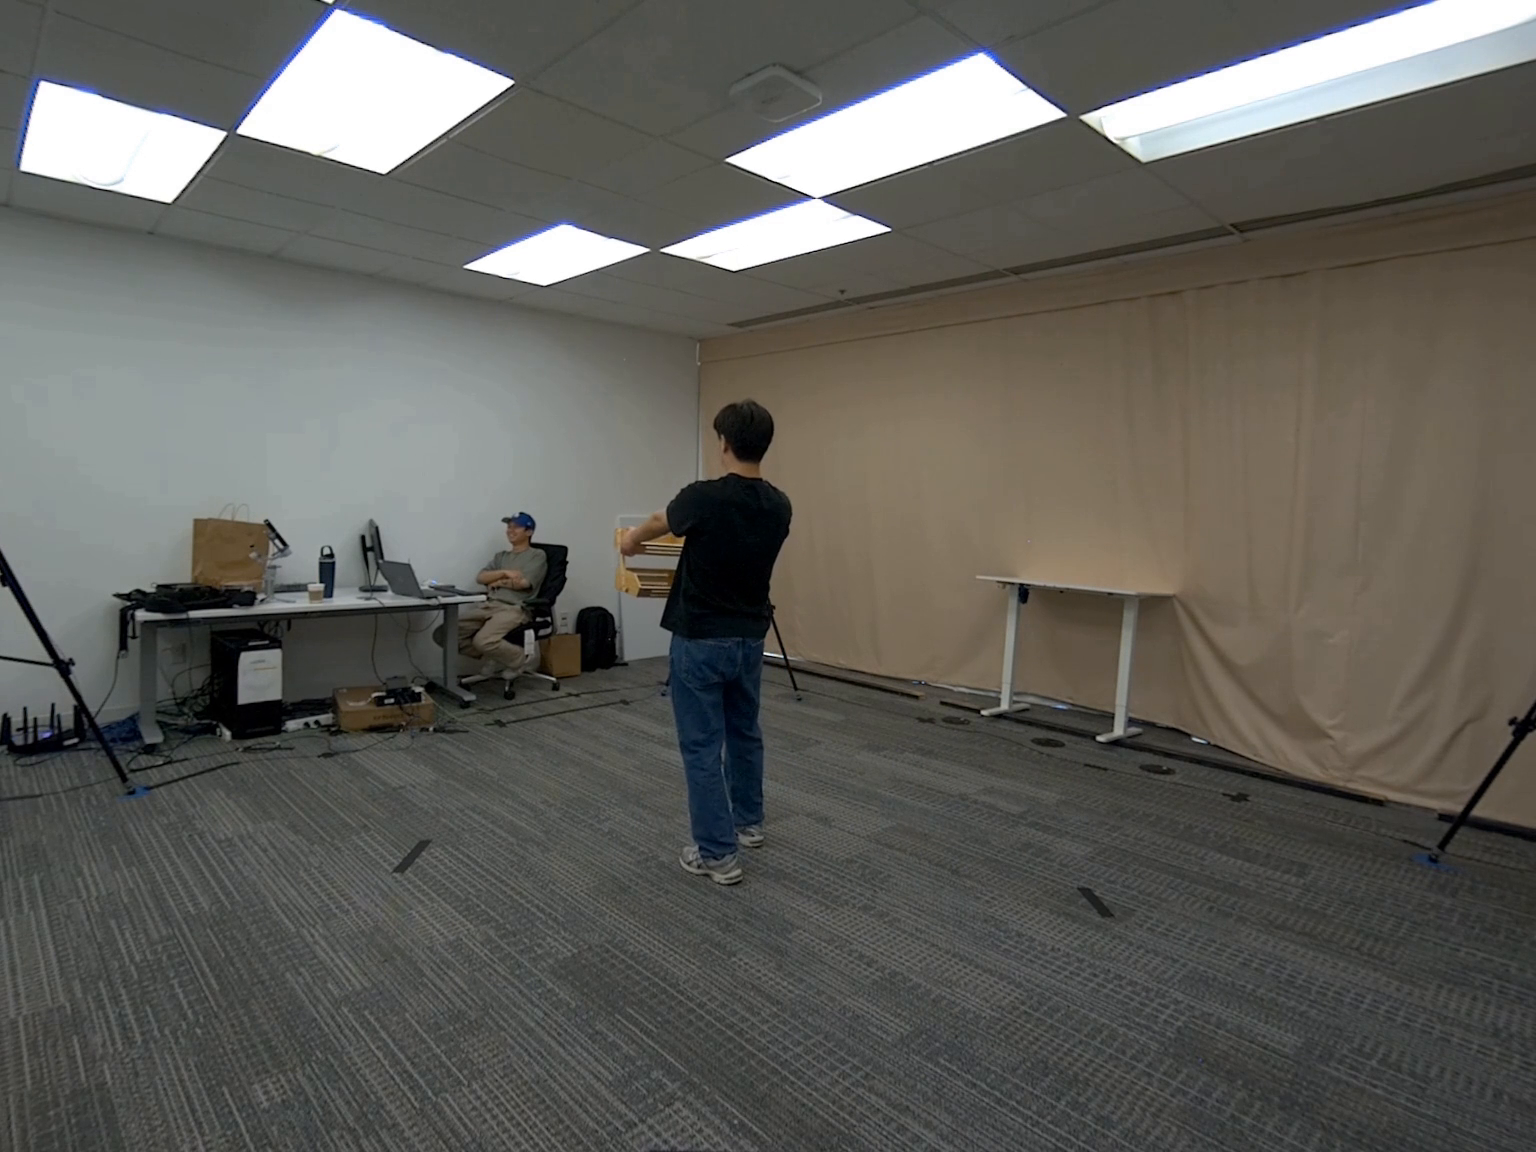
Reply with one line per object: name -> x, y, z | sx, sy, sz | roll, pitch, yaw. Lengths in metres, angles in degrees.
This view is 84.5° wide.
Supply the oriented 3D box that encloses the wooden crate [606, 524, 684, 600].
wooden crate -> -0.468, -0.060, 3.616 | 0.317, 0.272, 0.310 | 4, 5, -33
